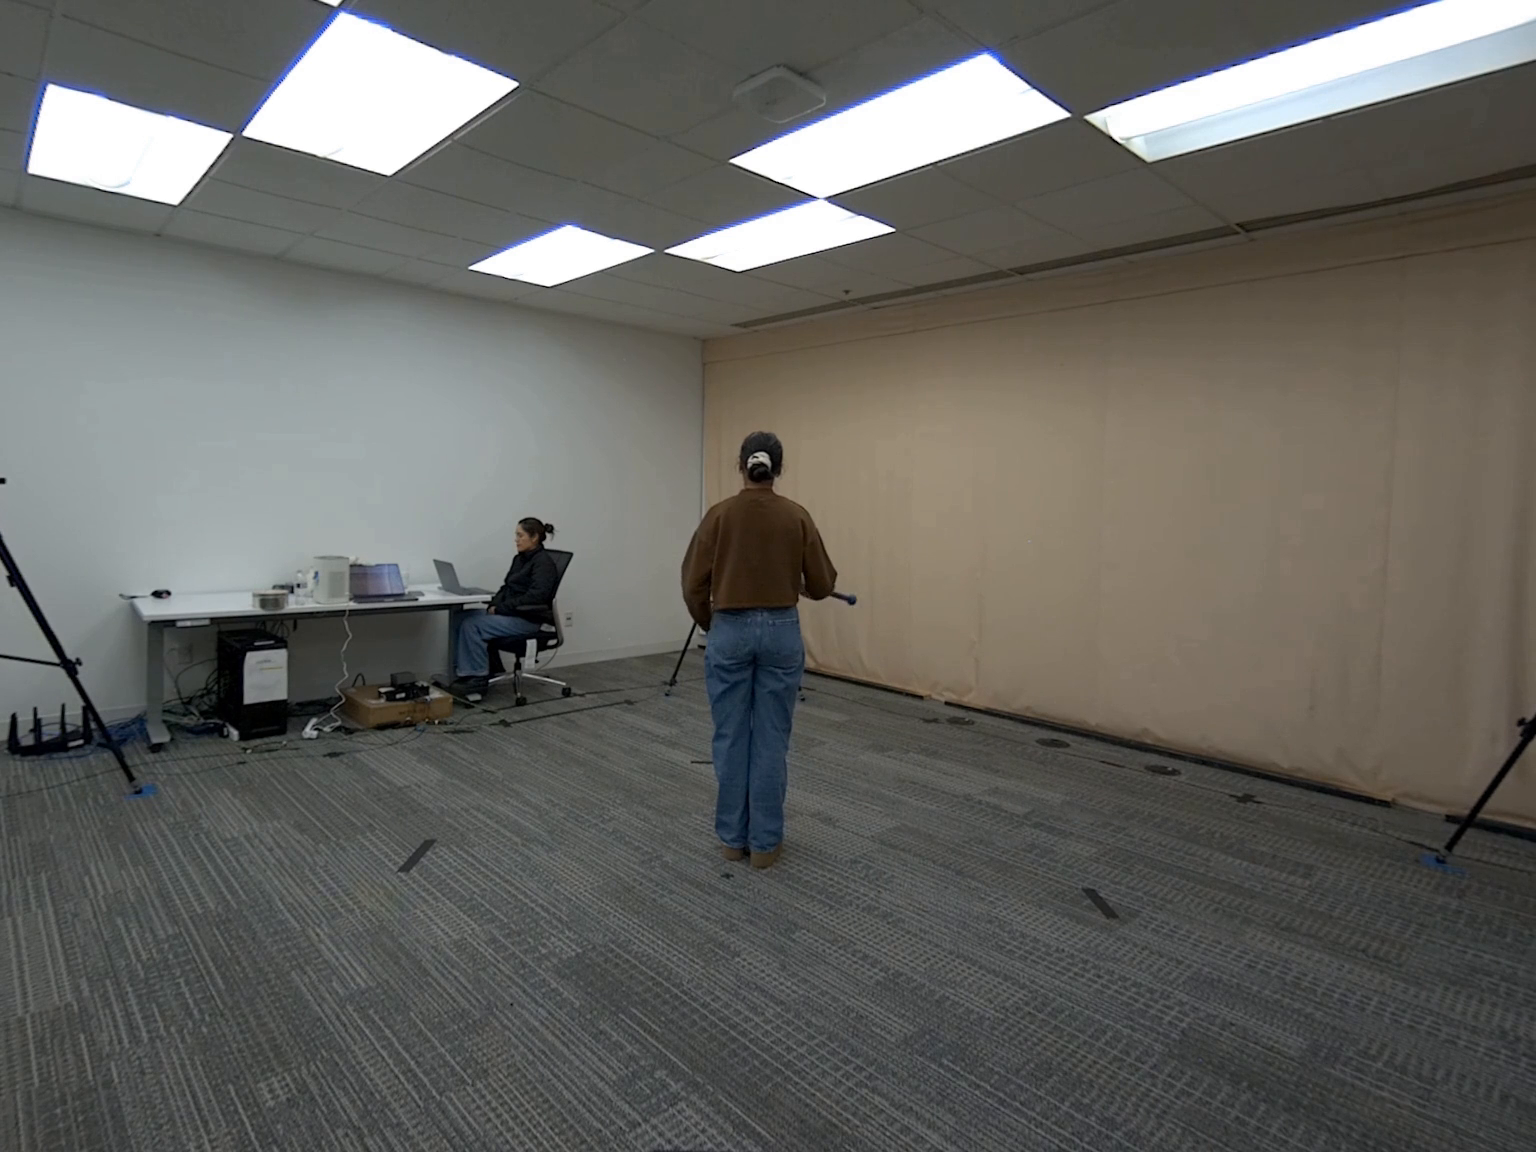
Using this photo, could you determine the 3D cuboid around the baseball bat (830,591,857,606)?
[{"bbox_3d":[0.207,0.069,3.665,0.091,0.089,0.526,5,-12,42],"label":"baseball bat"}]
